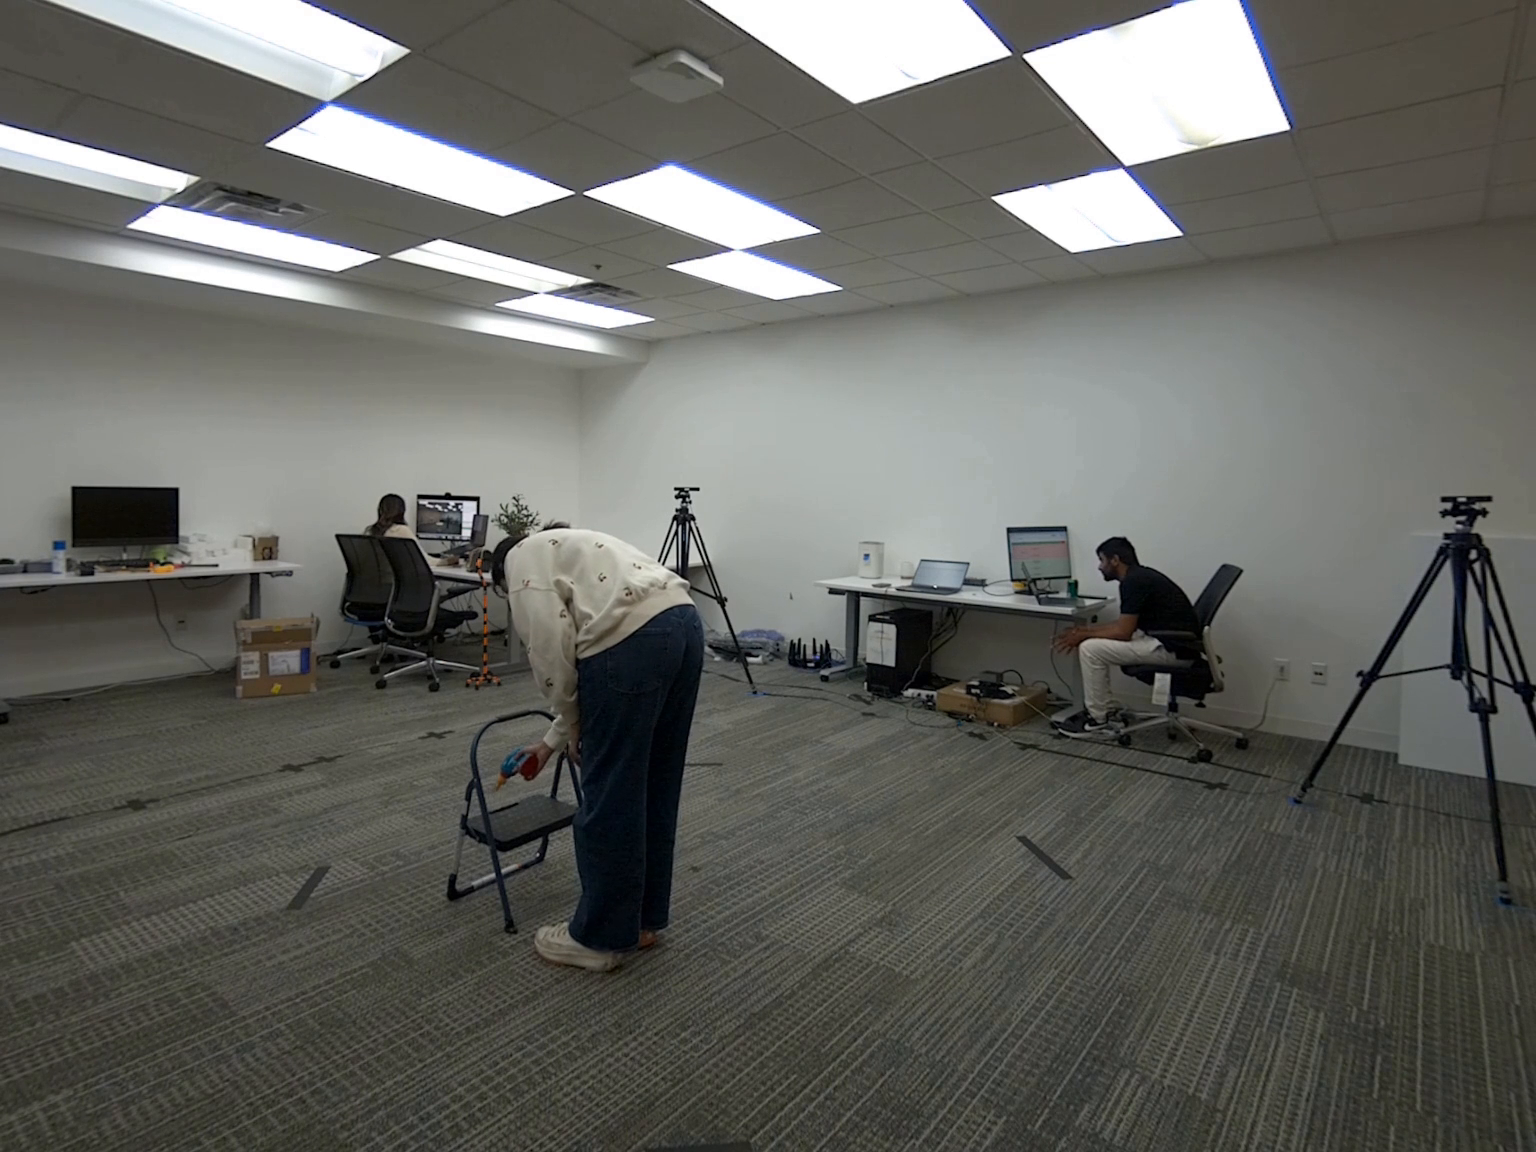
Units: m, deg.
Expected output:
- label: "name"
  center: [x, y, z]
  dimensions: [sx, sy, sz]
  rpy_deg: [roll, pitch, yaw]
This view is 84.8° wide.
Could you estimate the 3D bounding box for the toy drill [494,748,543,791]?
- label: "toy drill"
  center: [-0.856, 0.652, 2.797]
  dimensions: [0.150, 0.171, 0.059]
  rpy_deg: [0, -38, 50]
